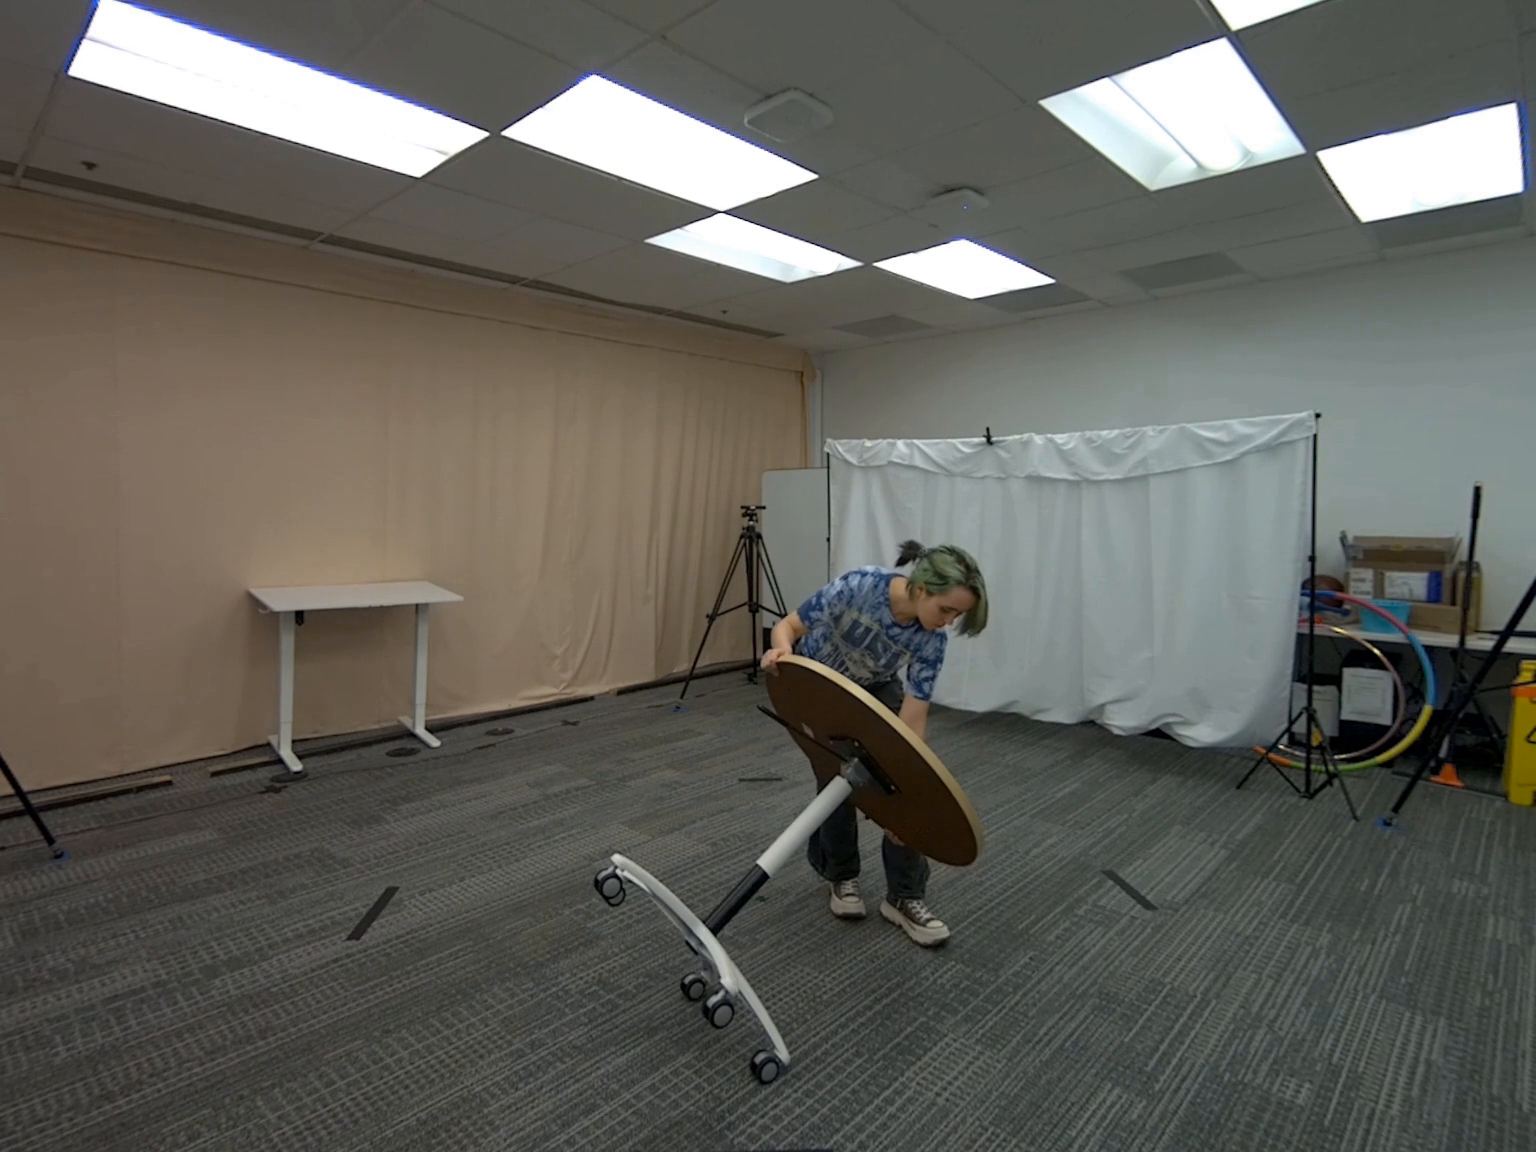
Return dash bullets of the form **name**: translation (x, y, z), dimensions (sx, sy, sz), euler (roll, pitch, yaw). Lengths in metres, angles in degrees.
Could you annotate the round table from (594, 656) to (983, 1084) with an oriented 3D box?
- **round table**: translation (0.018, 0.762, 2.262), dimensions (0.787, 0.748, 0.786), euler (-42, 22, -22)
